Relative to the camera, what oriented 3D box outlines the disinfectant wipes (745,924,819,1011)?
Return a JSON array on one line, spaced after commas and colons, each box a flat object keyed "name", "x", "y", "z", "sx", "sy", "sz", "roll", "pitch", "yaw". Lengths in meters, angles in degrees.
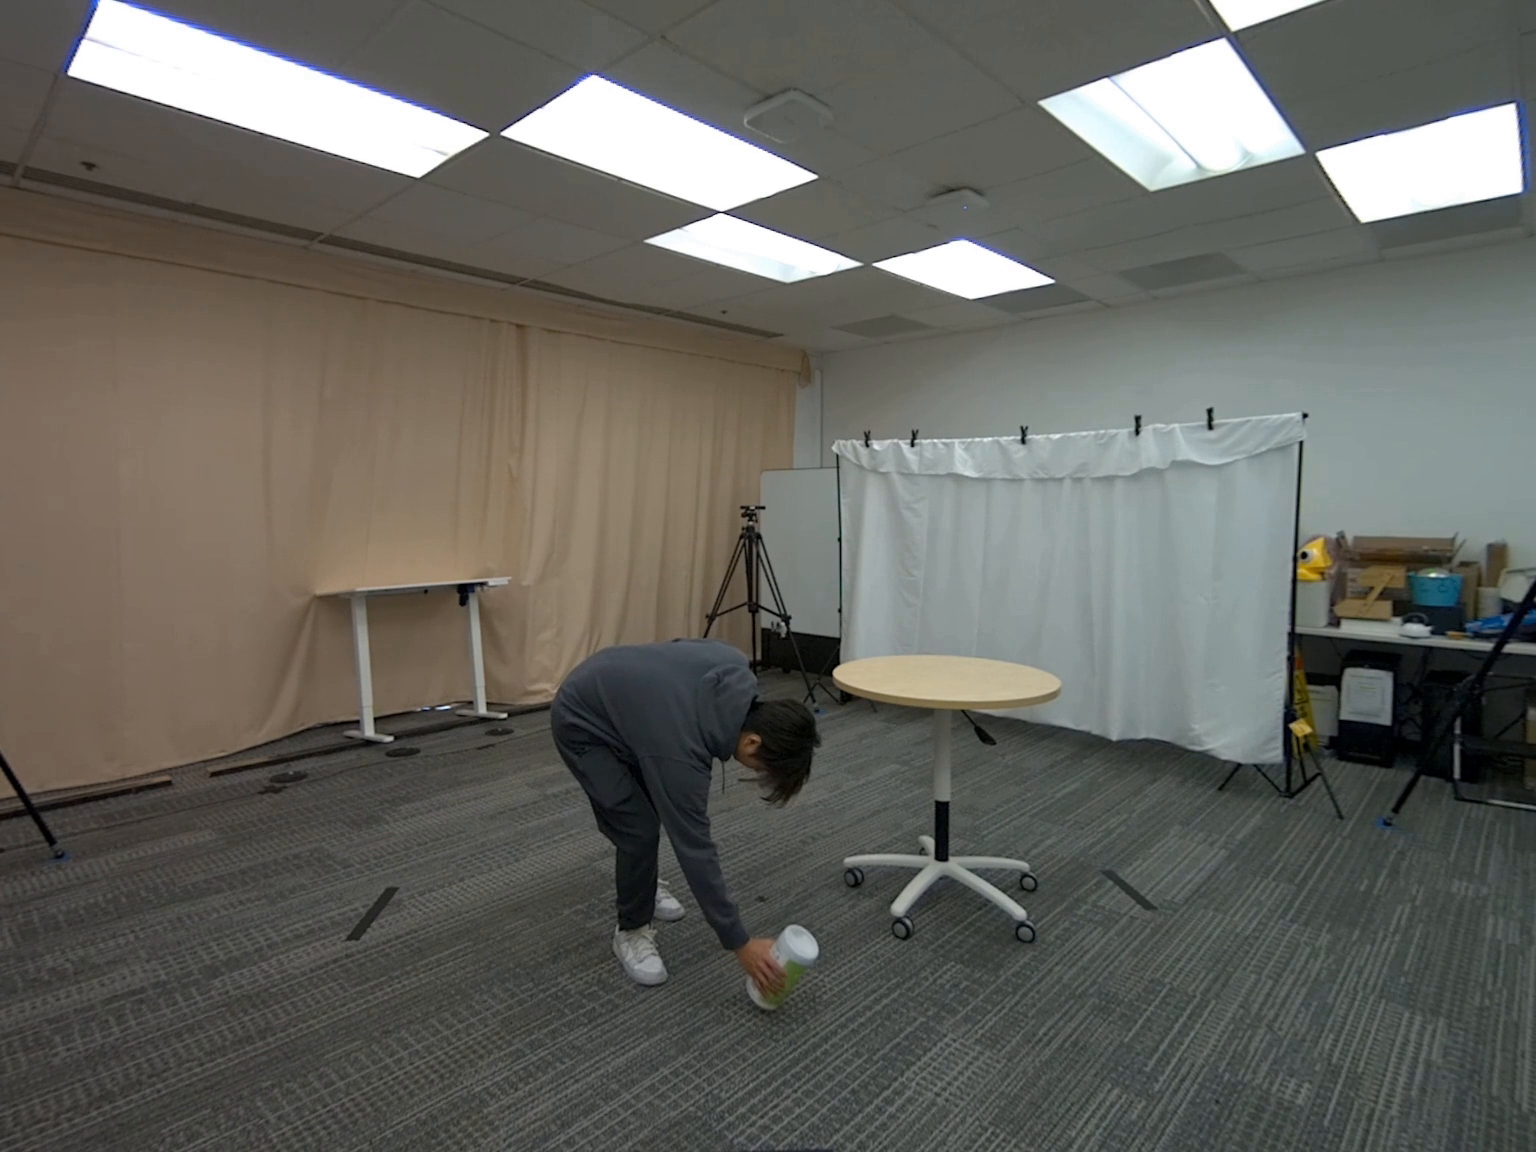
[{"name": "disinfectant wipes", "x": 0.042, "y": 1.075, "z": 2.289, "sx": 0.116, "sy": 0.217, "sz": 0.119, "roll": 27, "pitch": 18, "yaw": -12}]
